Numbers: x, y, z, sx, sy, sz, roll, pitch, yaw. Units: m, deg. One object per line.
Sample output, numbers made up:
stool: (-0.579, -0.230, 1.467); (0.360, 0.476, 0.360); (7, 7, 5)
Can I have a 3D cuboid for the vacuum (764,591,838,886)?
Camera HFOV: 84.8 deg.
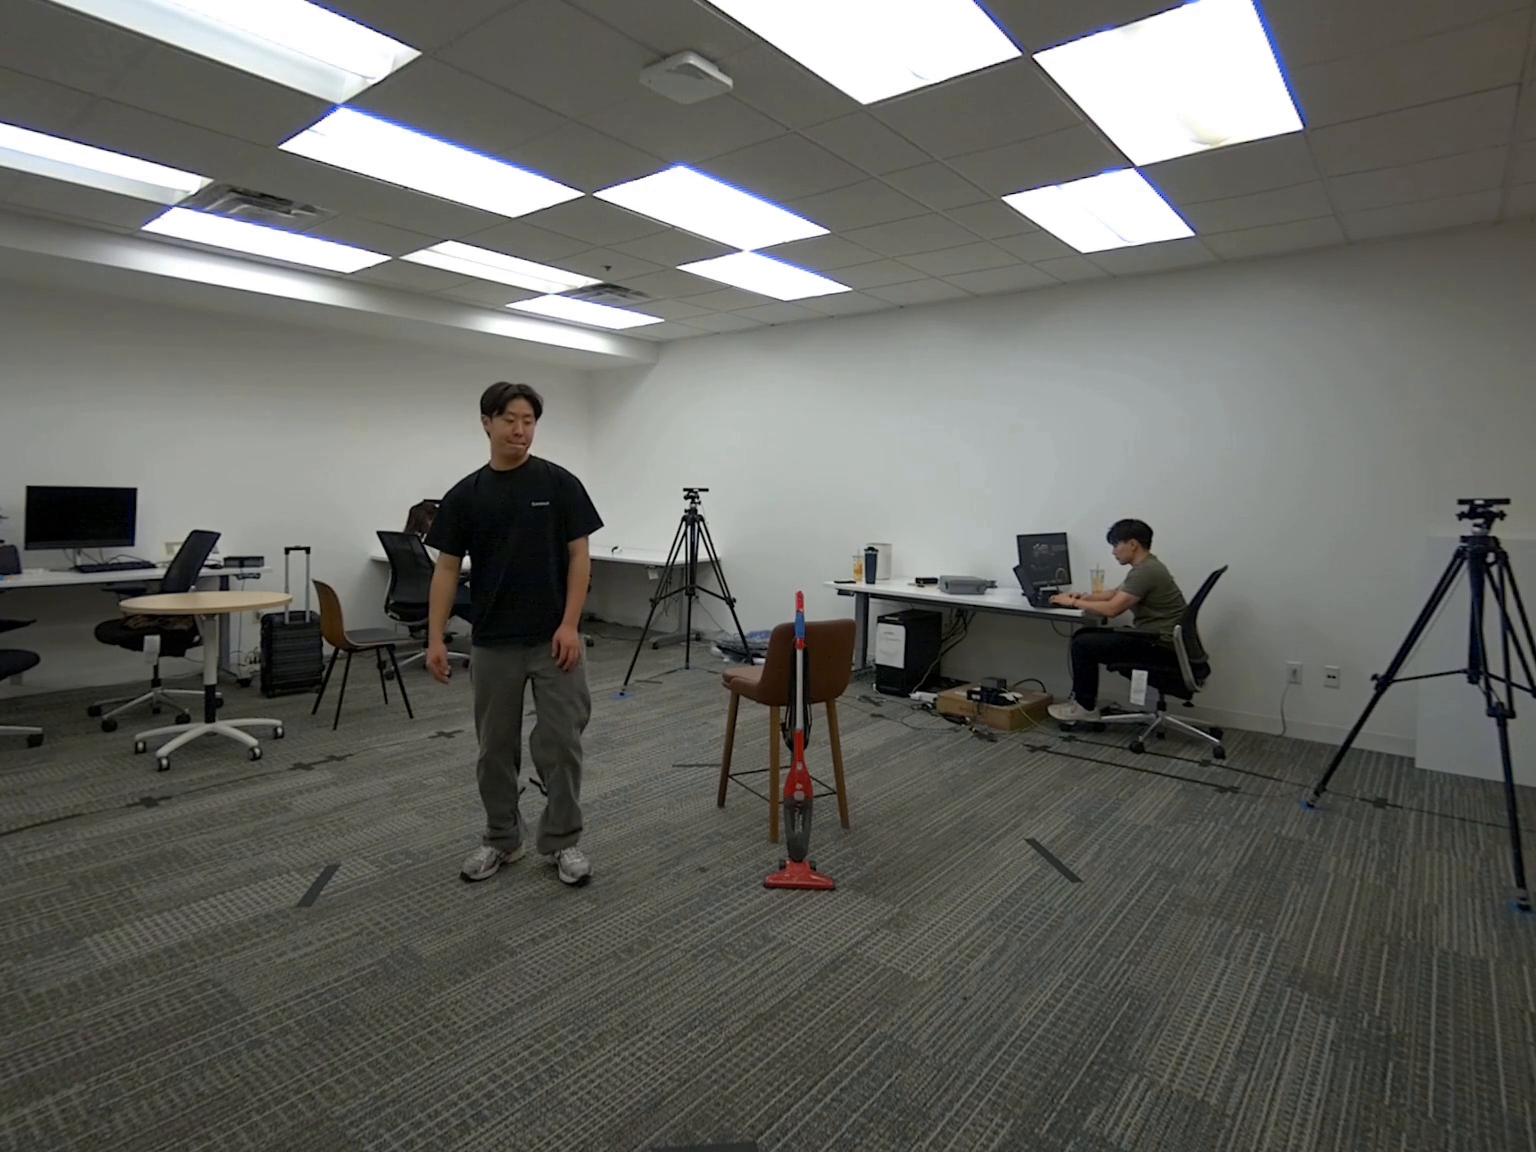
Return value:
vacuum: (0.109, 0.574, 3.196); (0.252, 1.066, 0.142); (0, -16, -2)
